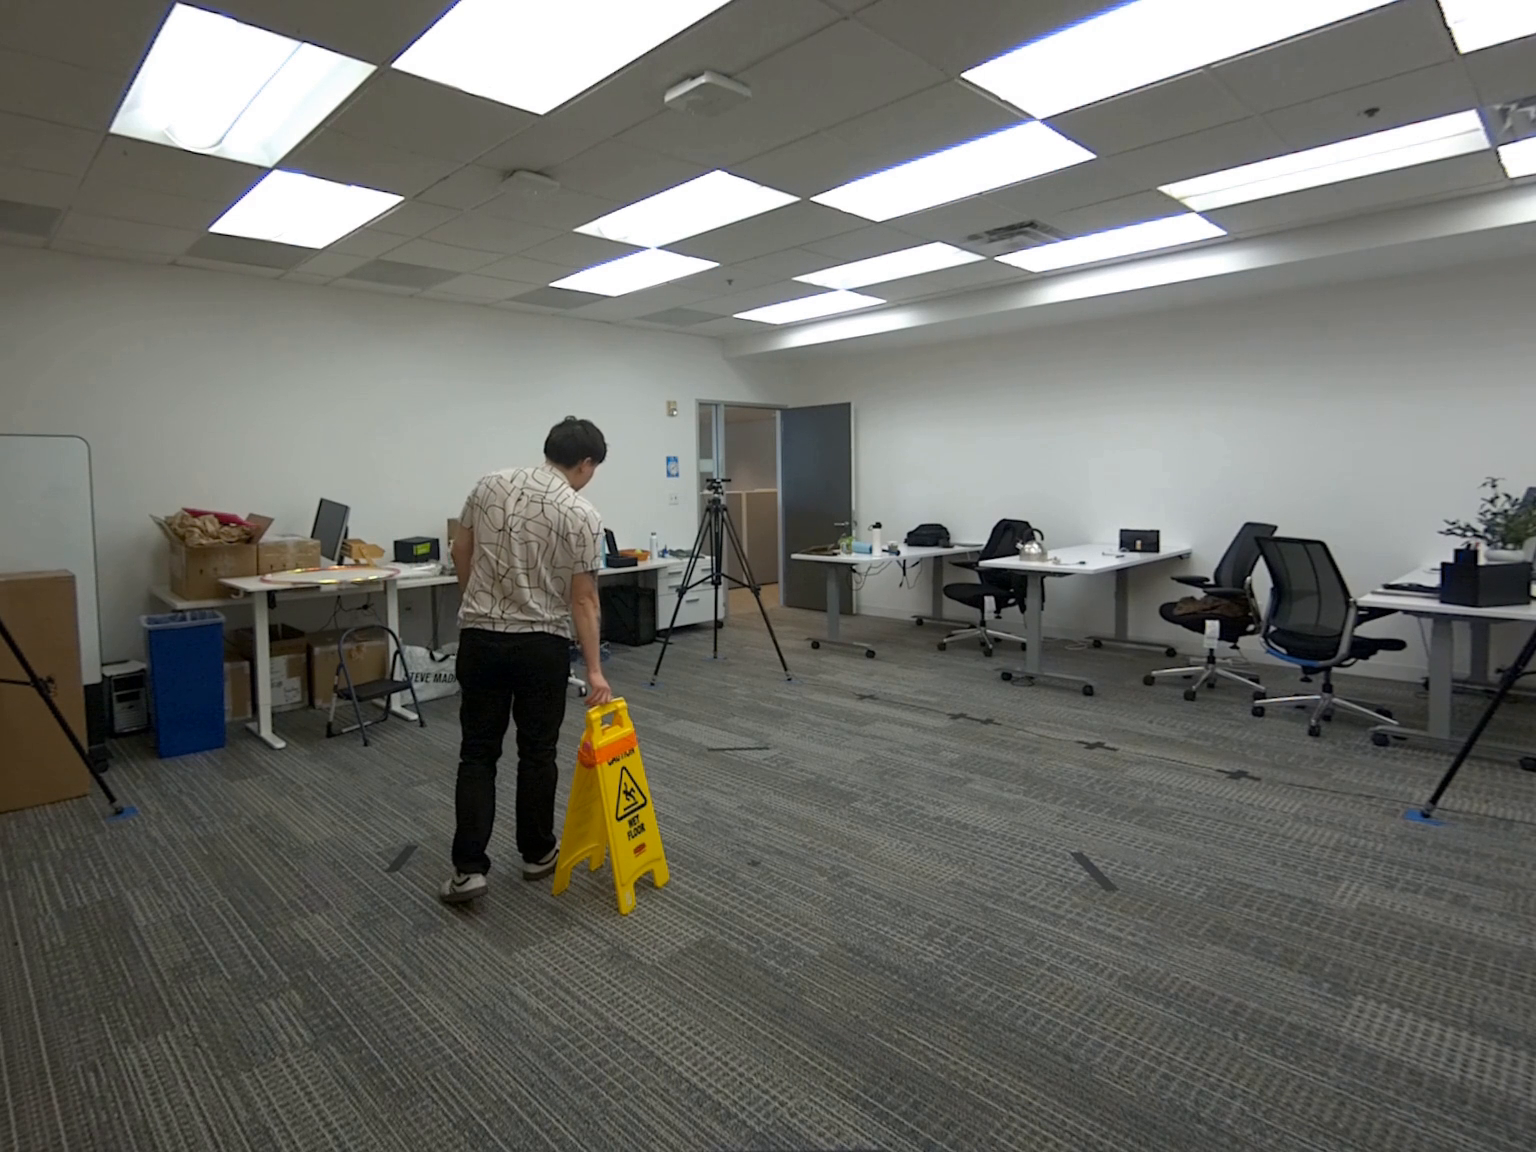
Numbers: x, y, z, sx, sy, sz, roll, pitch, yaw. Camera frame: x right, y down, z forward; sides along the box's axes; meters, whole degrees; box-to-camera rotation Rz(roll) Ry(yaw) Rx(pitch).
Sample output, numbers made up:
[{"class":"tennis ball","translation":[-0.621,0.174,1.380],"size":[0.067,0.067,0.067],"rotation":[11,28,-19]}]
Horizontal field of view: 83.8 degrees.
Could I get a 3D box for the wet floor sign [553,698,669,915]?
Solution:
[{"class":"wet floor sign","translation":[-0.537,0.750,2.913],"size":[0.297,0.643,0.276],"rotation":[3,6,28]}]
